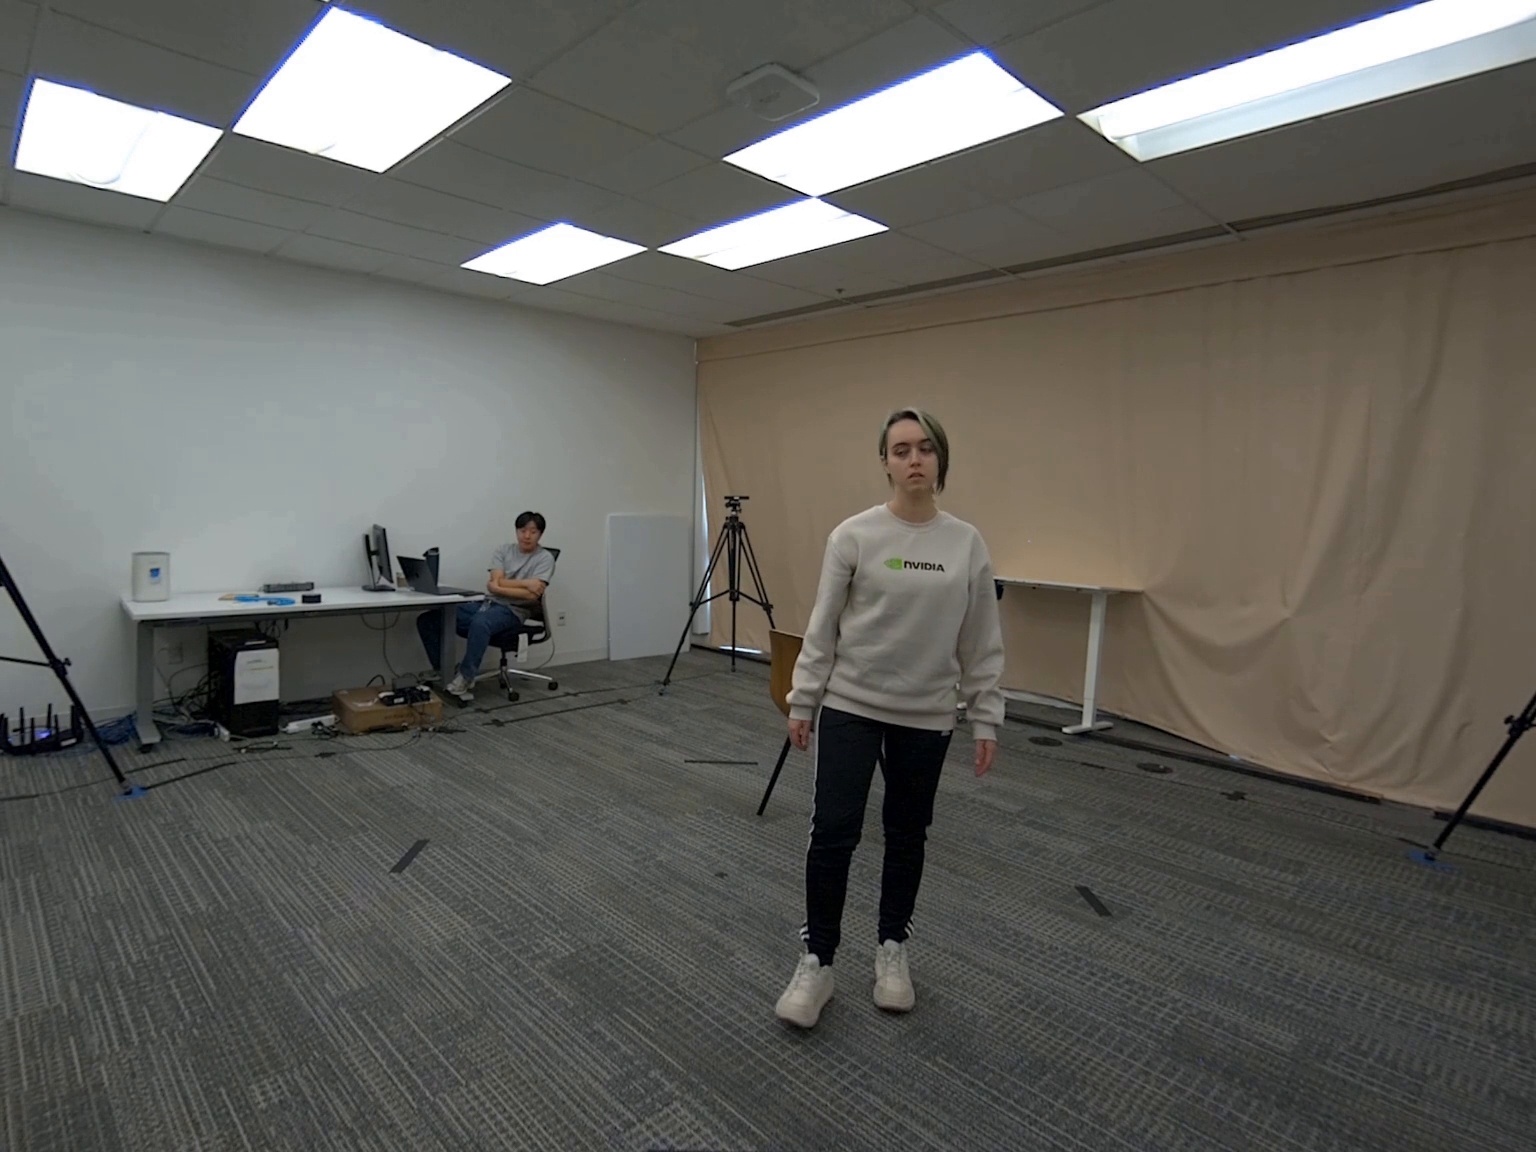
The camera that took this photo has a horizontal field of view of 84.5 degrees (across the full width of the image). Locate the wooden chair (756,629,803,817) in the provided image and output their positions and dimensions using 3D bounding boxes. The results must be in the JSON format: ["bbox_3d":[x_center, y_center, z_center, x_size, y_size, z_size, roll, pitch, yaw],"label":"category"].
[{"bbox_3d":[0.278,0.643,3.633,0.512,0.874,0.490,-6,6,-36],"label":"wooden chair"}]
